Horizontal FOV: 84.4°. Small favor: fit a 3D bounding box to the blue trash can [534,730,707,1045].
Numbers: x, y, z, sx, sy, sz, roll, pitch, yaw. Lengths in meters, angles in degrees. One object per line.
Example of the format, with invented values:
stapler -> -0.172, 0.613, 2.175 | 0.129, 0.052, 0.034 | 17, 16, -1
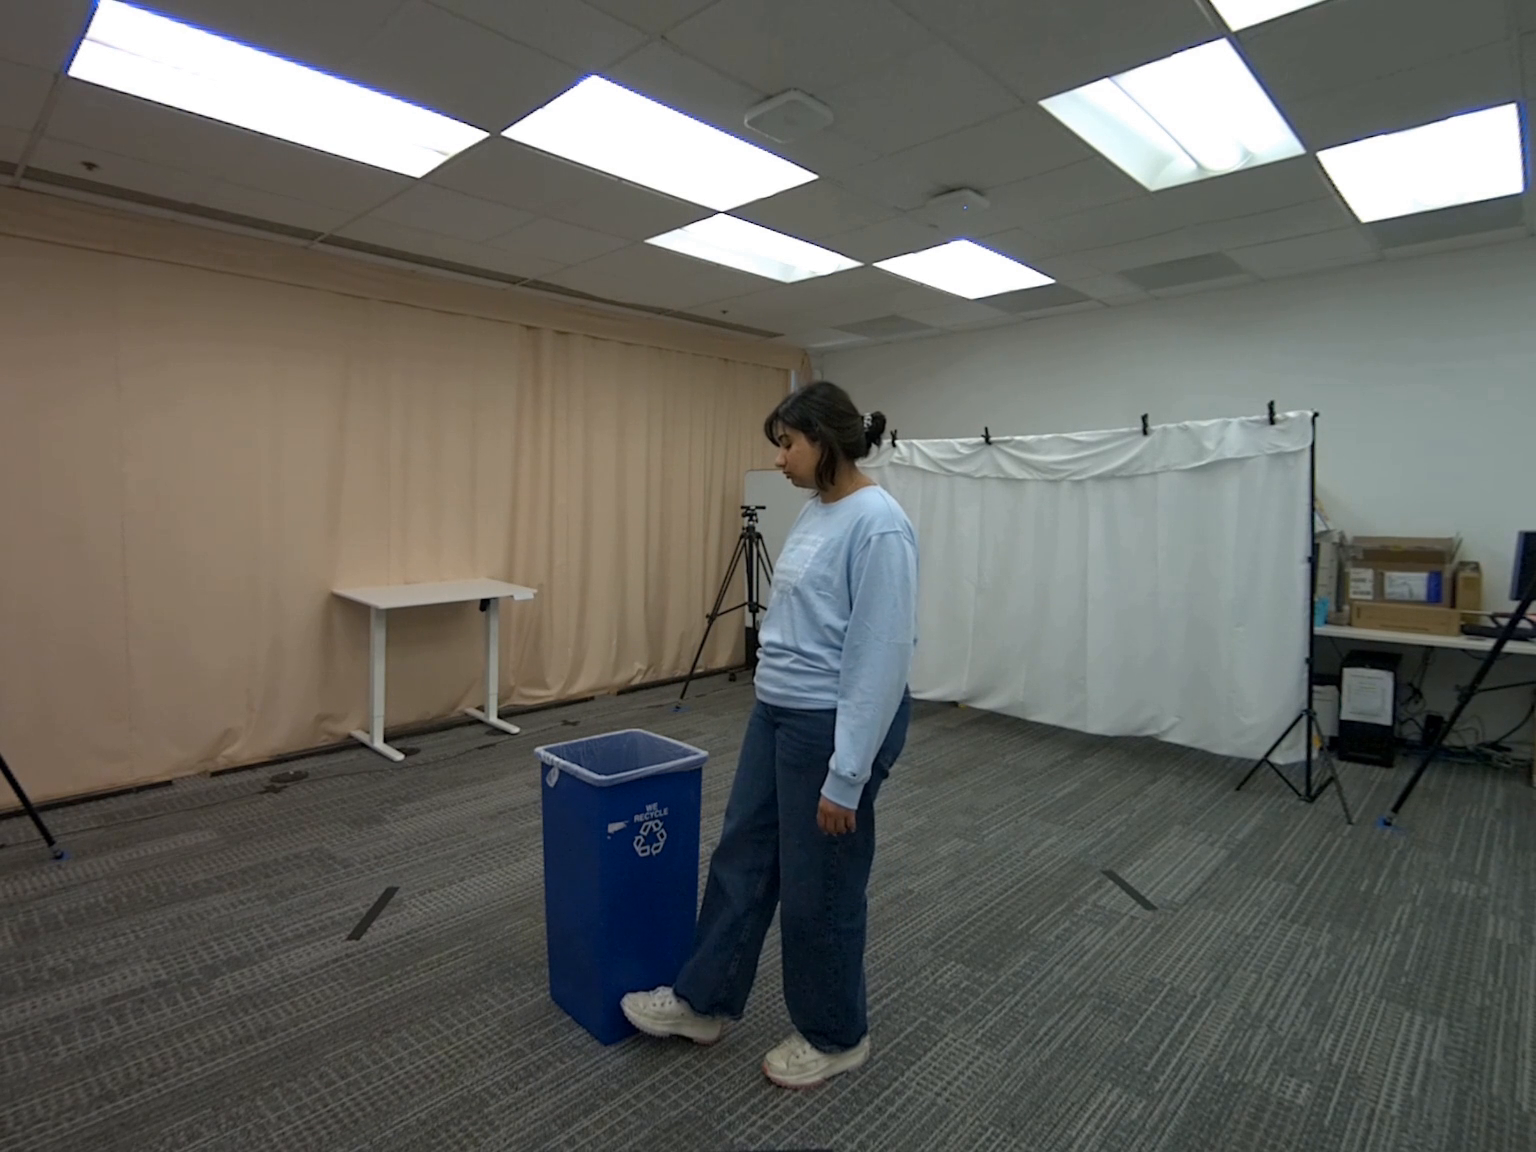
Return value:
blue trash can -> -0.404, 0.844, 2.353 | 0.366, 0.712, 0.386 | -2, 4, -43
